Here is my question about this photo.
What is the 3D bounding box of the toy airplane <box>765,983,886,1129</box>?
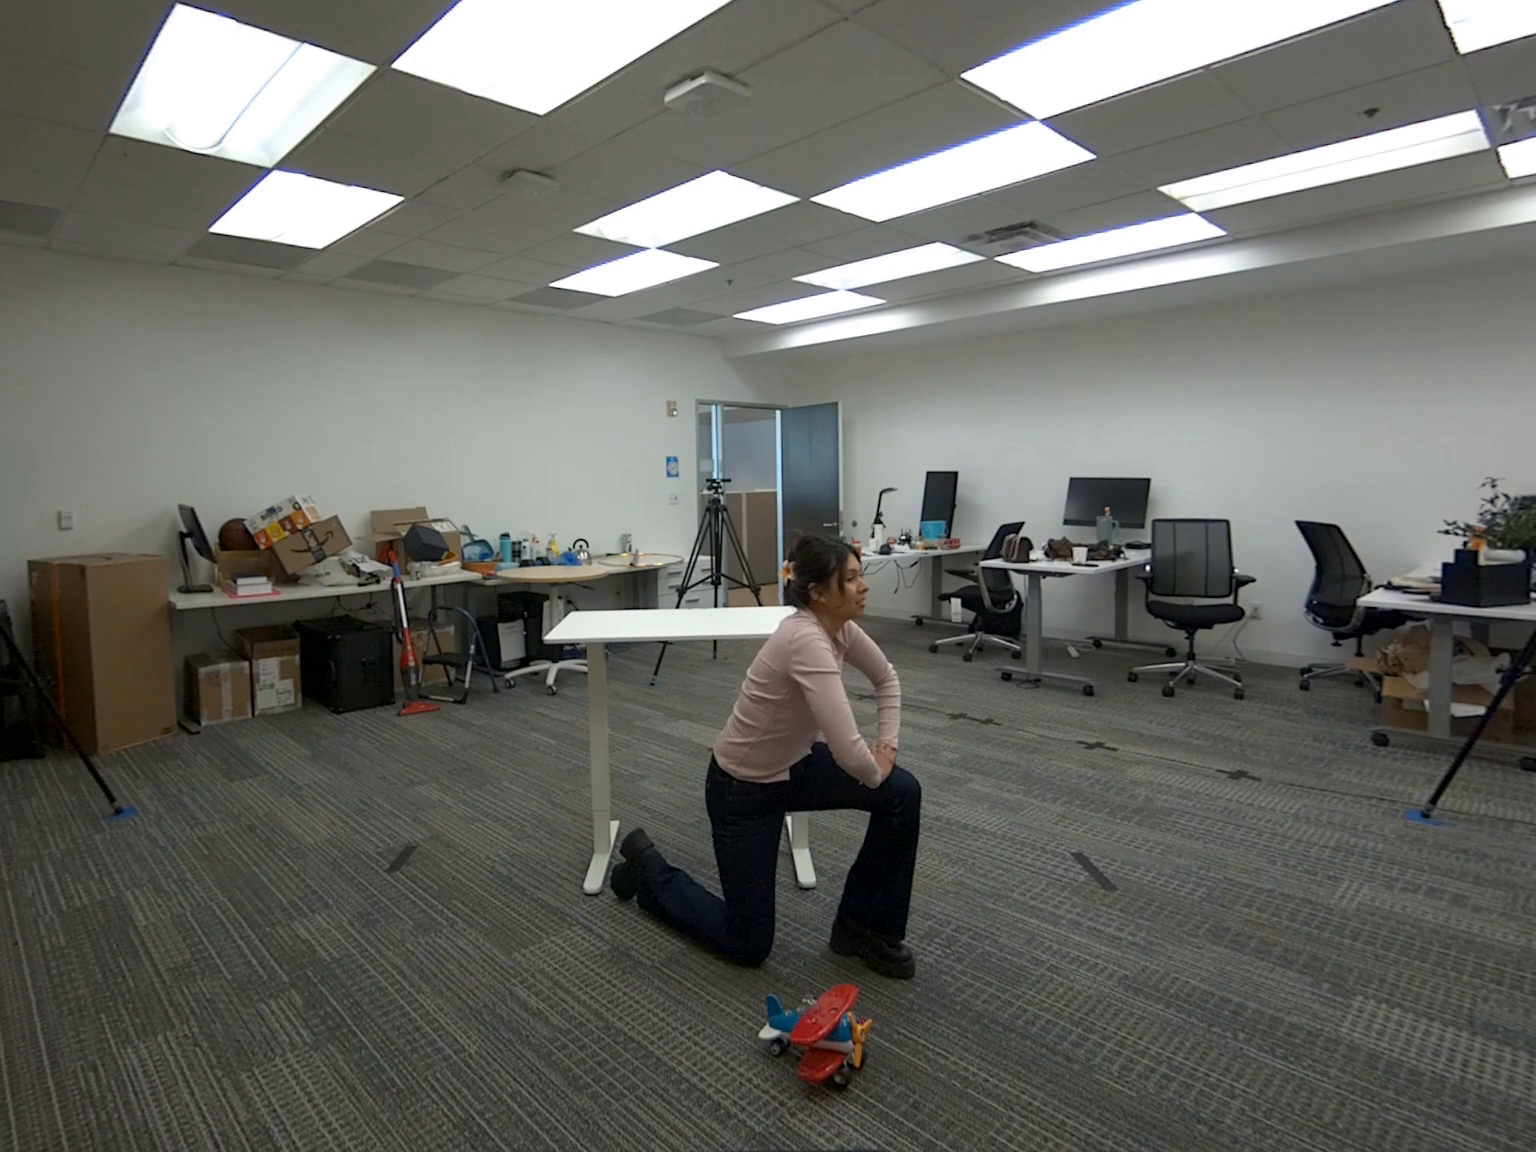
[{"bbox_3d":[0.126,1.108,1.998,0.260,0.155,0.251,1,7,3],"label":"toy airplane"}]
